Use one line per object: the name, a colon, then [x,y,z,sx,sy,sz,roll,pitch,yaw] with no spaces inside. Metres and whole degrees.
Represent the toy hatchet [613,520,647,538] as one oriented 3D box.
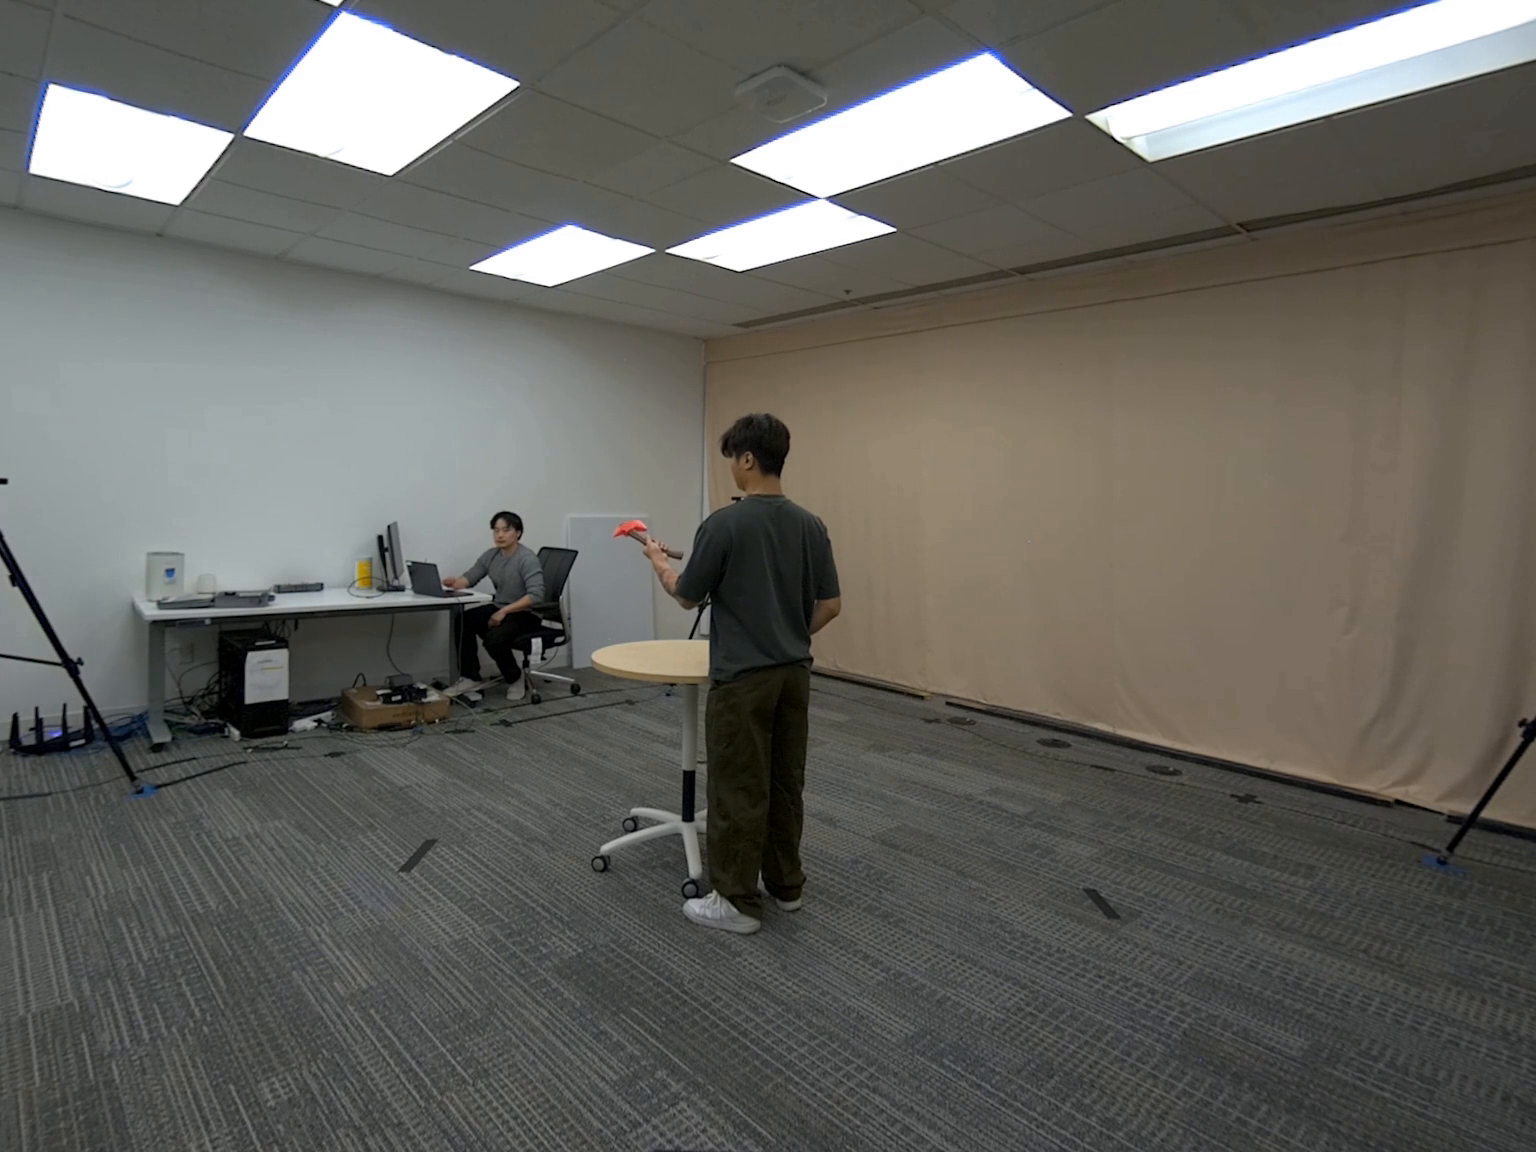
toy hatchet: [-0.415,-0.140,3.012,0.274,0.029,0.131,17,37,13]
